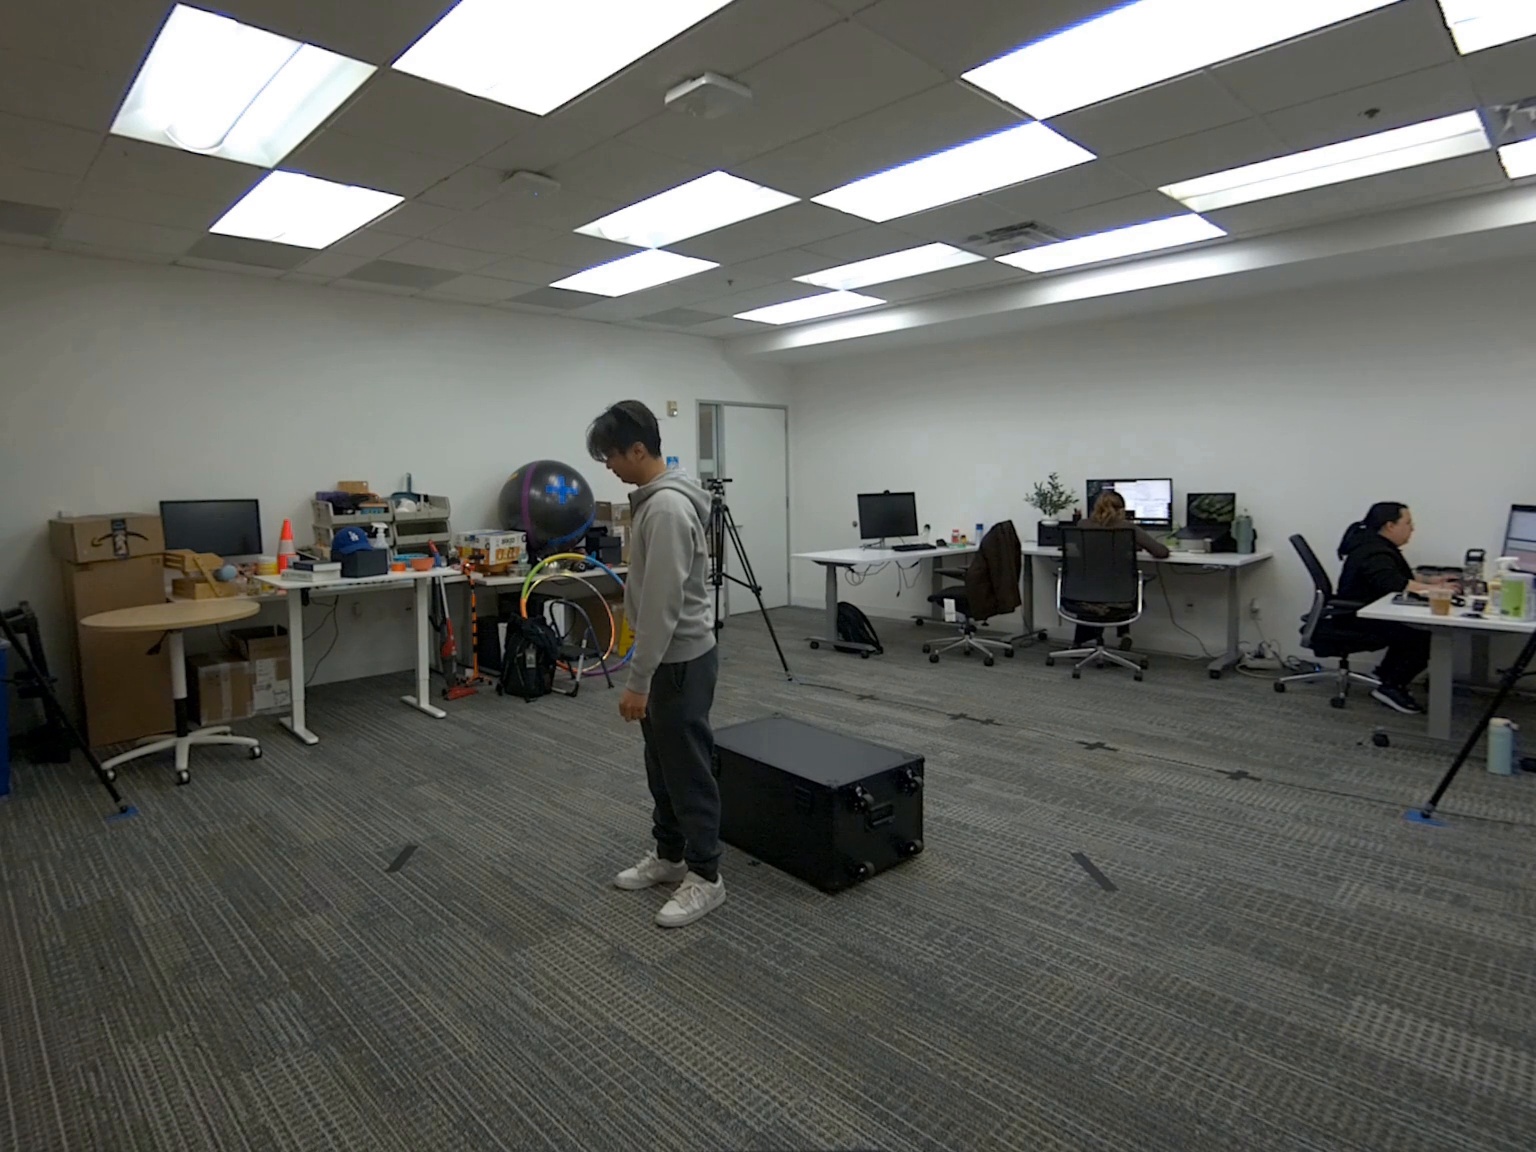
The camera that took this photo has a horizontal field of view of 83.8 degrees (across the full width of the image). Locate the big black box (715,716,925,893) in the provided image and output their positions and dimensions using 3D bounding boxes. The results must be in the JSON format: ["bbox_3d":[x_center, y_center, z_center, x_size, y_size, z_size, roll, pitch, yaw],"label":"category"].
[{"bbox_3d":[0.152,0.835,3.254,0.508,0.394,0.888,-6,8,-41],"label":"big black box"}]
